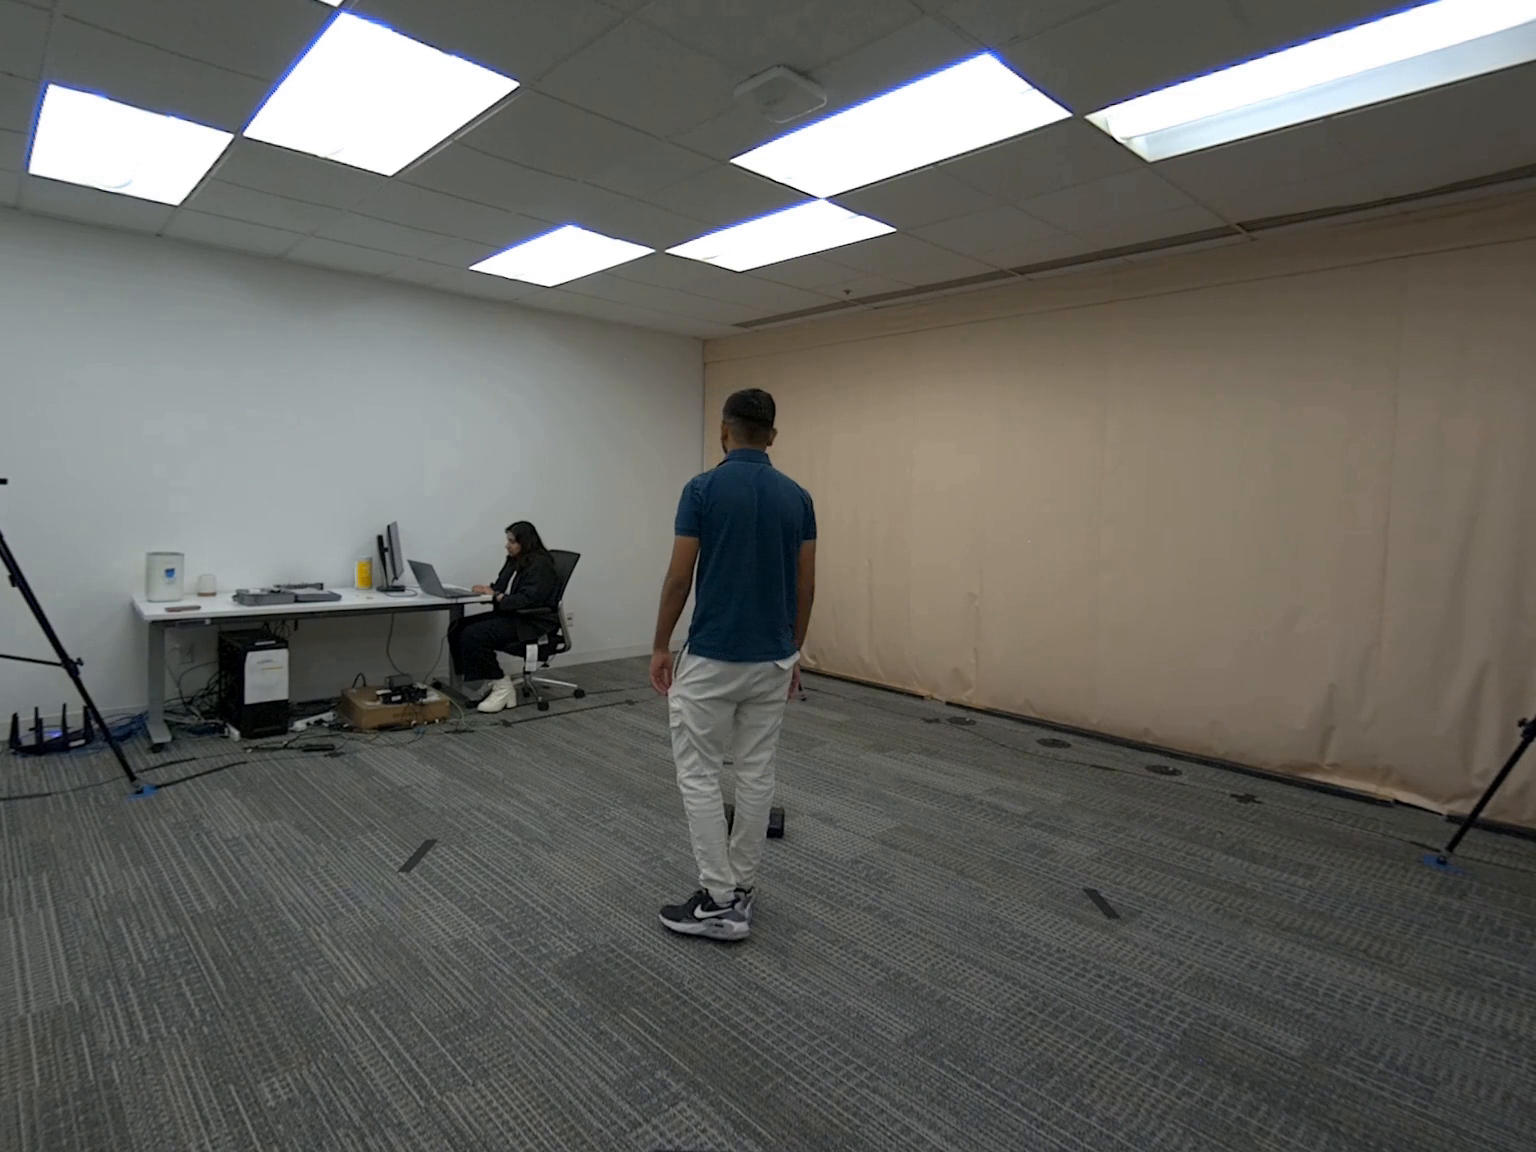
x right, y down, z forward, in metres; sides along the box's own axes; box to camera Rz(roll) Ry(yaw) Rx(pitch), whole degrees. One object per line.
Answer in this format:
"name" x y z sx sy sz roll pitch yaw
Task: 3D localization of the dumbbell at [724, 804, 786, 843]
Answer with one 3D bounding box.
"dumbbell" -0.083 1.021 3.505 0.295 0.125 0.106 2 -27 6
